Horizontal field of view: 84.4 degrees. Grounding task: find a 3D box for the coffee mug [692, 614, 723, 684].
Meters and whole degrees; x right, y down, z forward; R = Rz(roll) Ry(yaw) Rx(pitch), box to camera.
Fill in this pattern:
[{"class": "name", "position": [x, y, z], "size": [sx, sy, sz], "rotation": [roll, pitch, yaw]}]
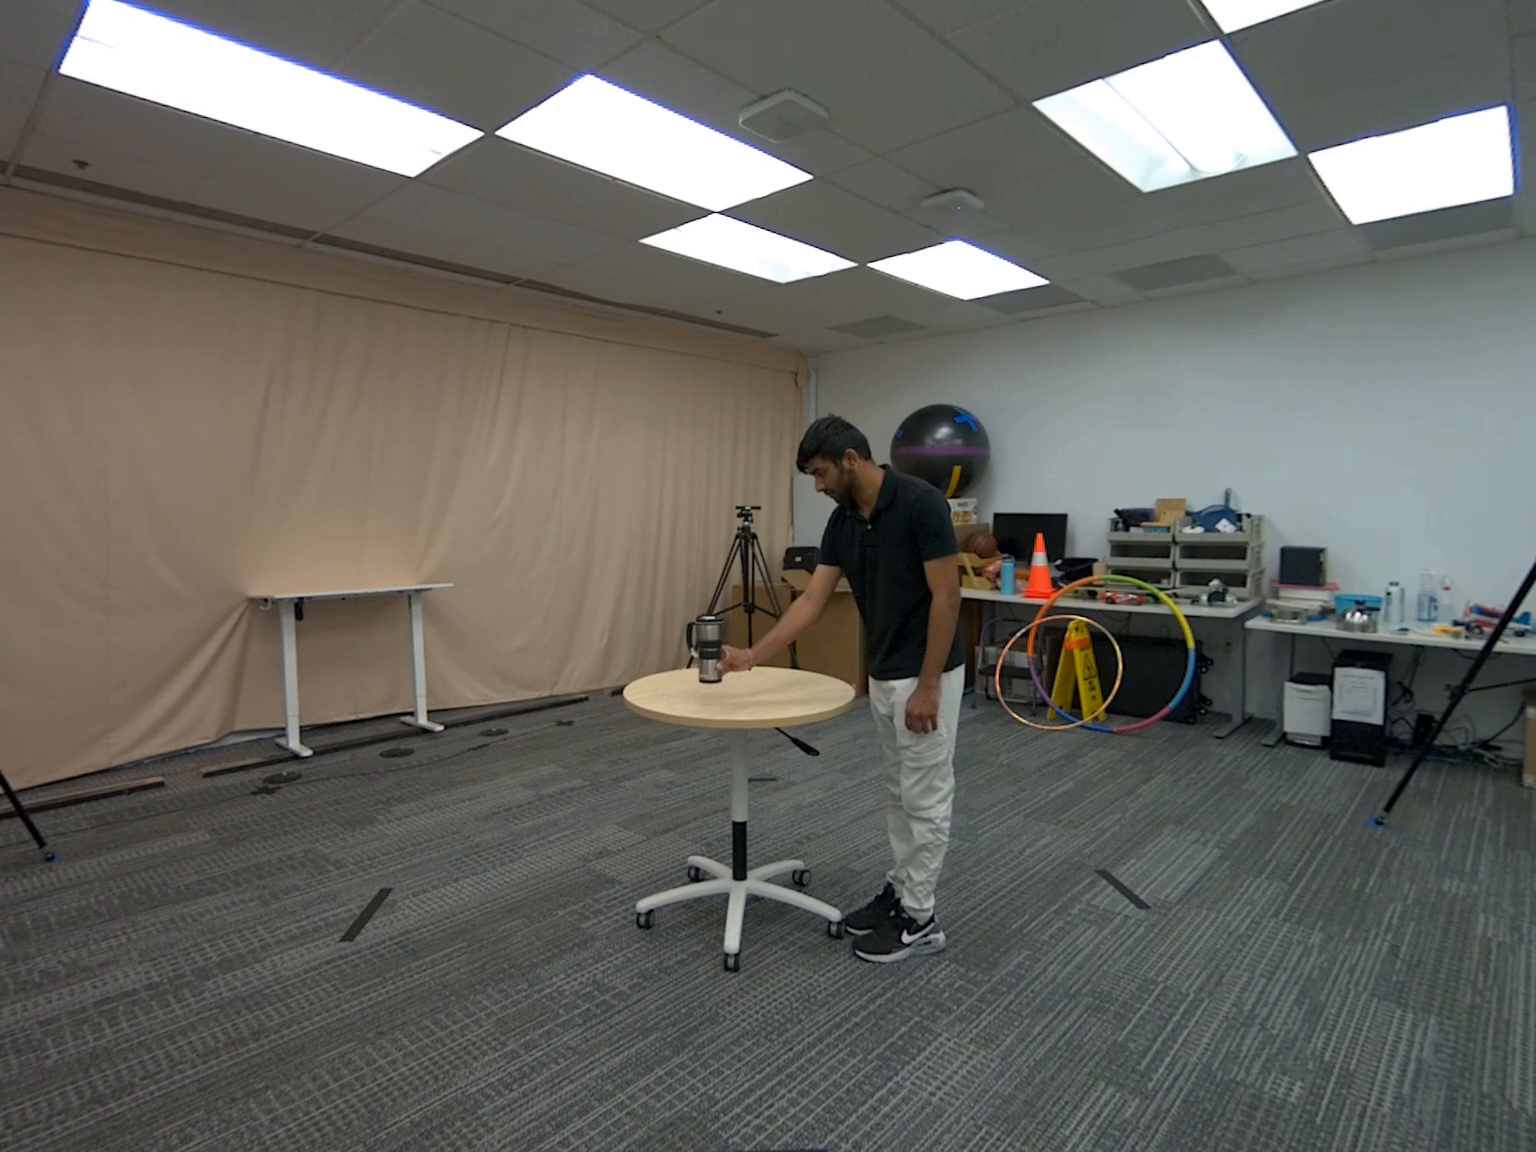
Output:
[{"class": "coffee mug", "position": [-0.187, 0.226, 2.613], "size": [0.085, 0.202, 0.125], "rotation": [-4, 5, -30]}]
